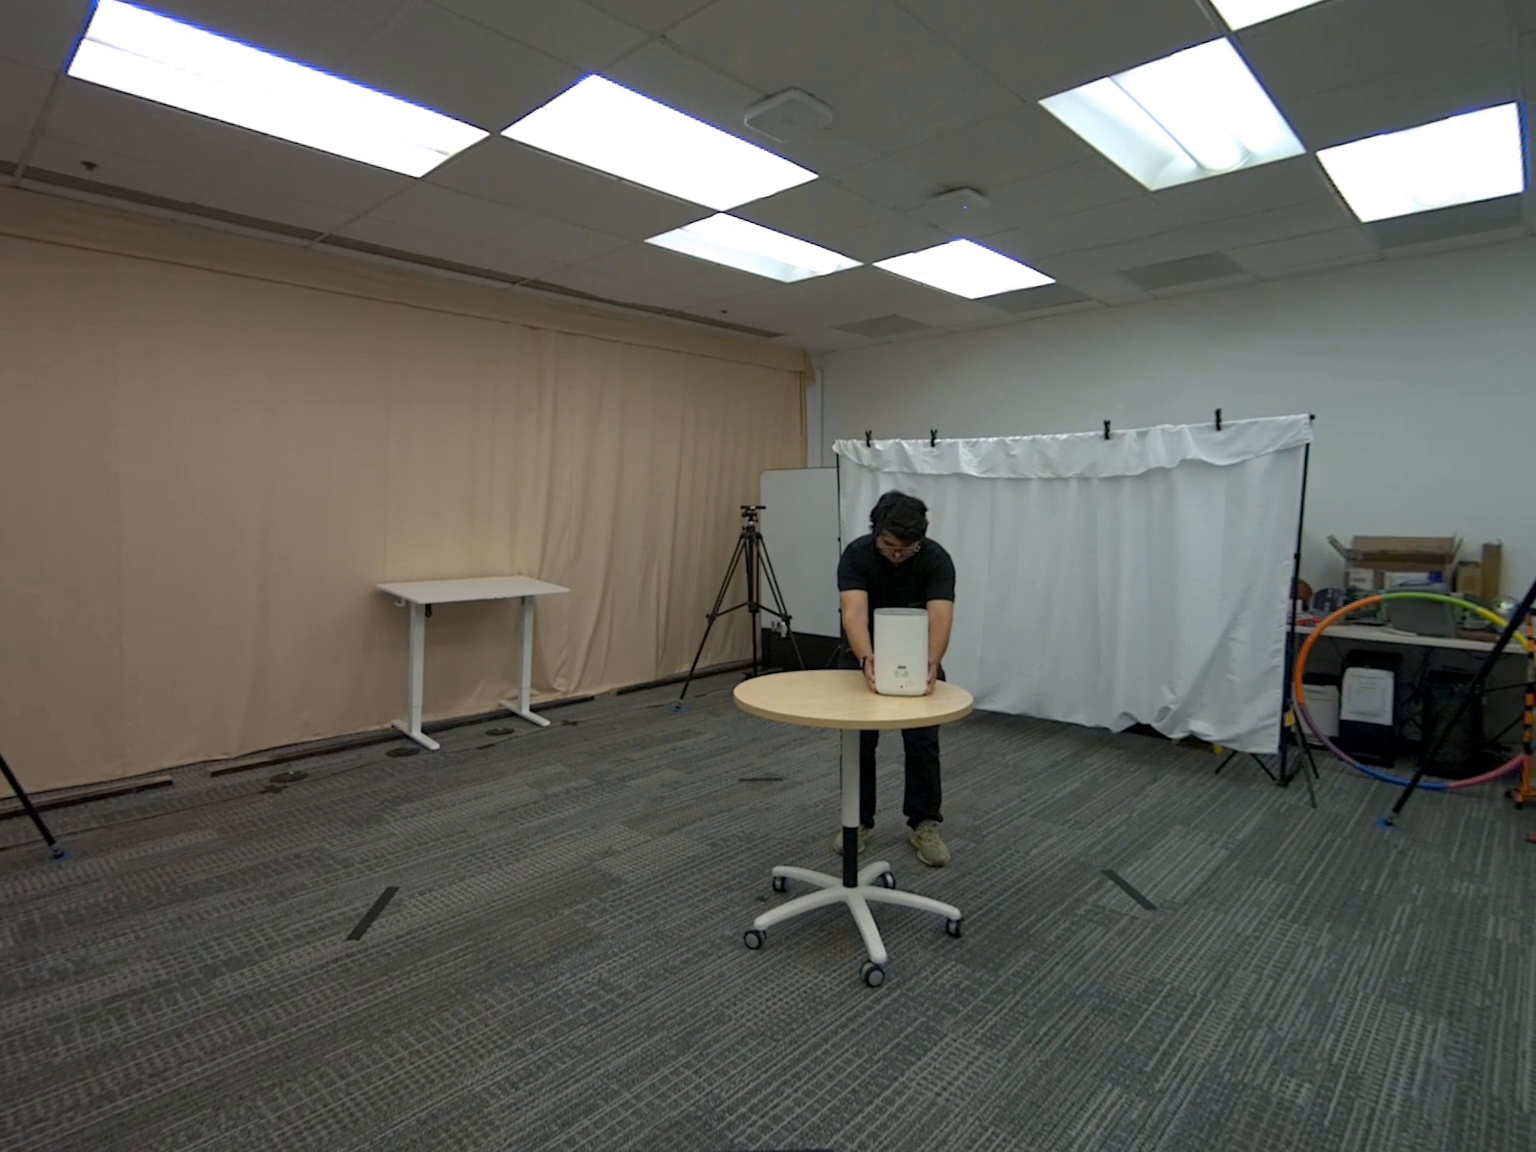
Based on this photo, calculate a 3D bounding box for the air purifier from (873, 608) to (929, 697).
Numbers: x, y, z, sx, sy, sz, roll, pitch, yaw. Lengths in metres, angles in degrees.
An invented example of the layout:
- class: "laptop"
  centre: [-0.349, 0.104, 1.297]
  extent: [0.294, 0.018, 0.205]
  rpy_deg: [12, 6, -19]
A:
- class: "air purifier"
  centre: [0.428, 0.243, 2.746]
  extent: [0.173, 0.265, 0.170]
  rpy_deg: [1, 3, 8]
